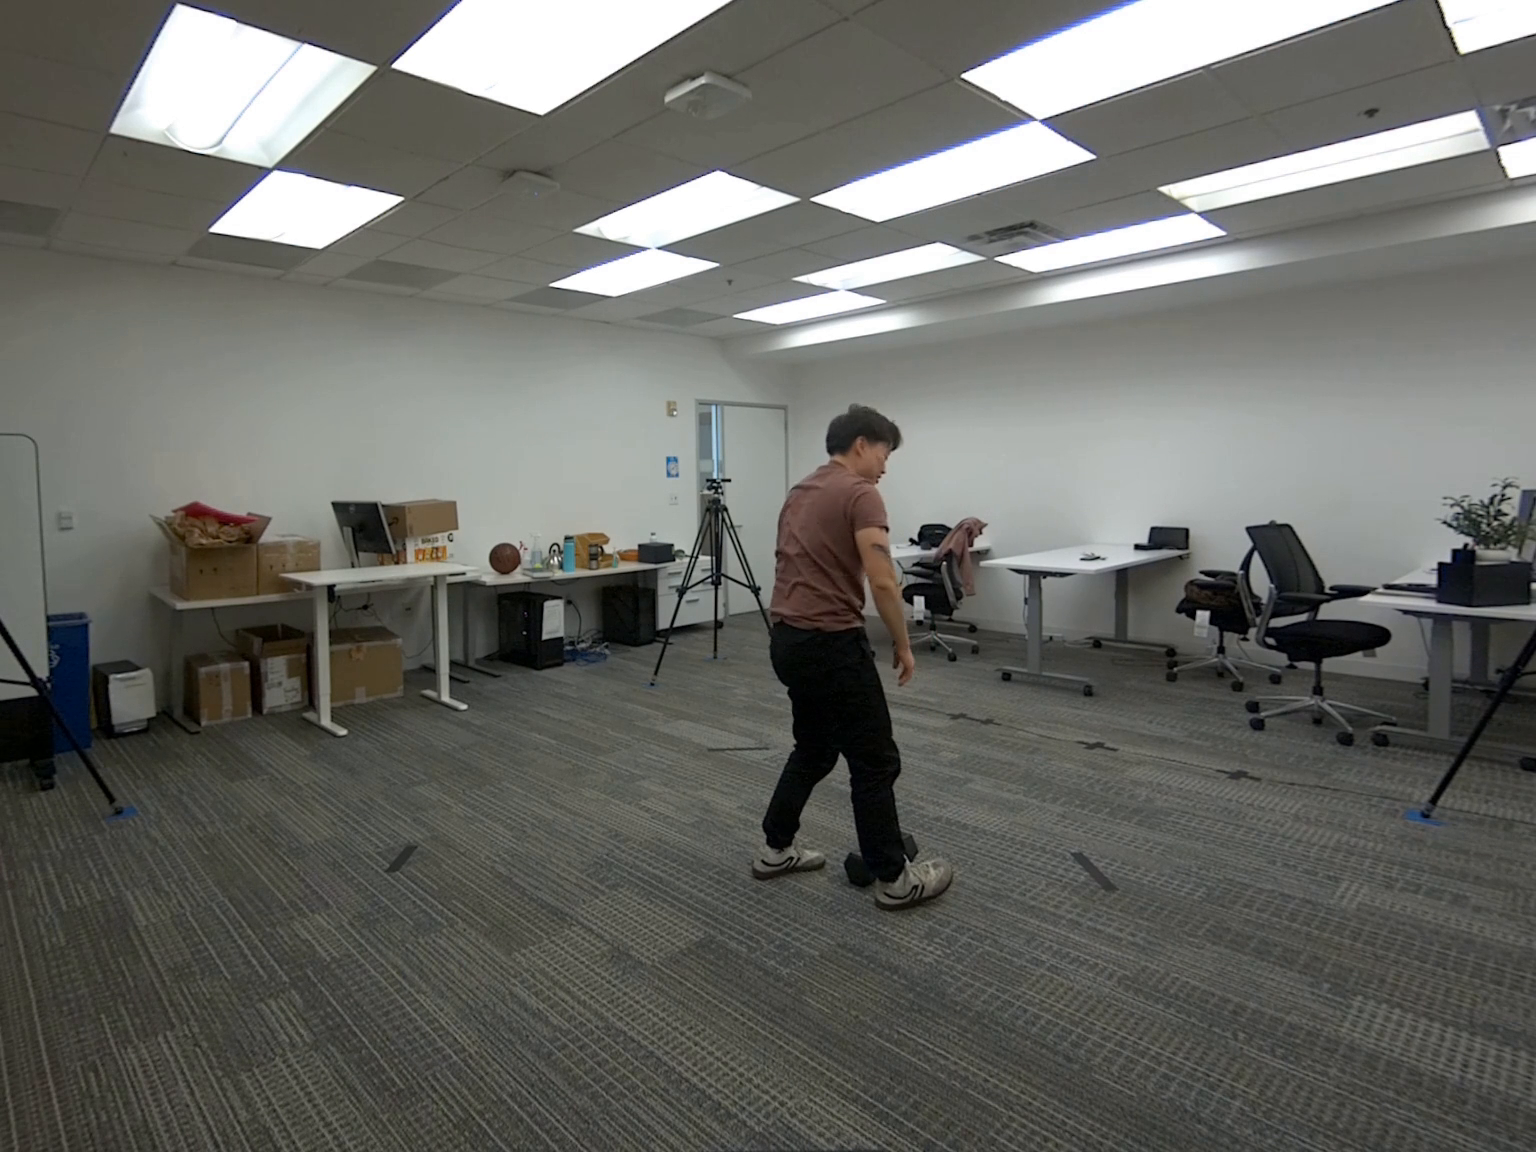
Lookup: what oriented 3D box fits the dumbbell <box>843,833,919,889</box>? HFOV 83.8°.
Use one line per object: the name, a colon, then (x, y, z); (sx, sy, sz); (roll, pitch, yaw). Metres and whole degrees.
dumbbell: (0.406, 0.994, 3.012); (0.286, 0.121, 0.113); (-7, 38, -43)
